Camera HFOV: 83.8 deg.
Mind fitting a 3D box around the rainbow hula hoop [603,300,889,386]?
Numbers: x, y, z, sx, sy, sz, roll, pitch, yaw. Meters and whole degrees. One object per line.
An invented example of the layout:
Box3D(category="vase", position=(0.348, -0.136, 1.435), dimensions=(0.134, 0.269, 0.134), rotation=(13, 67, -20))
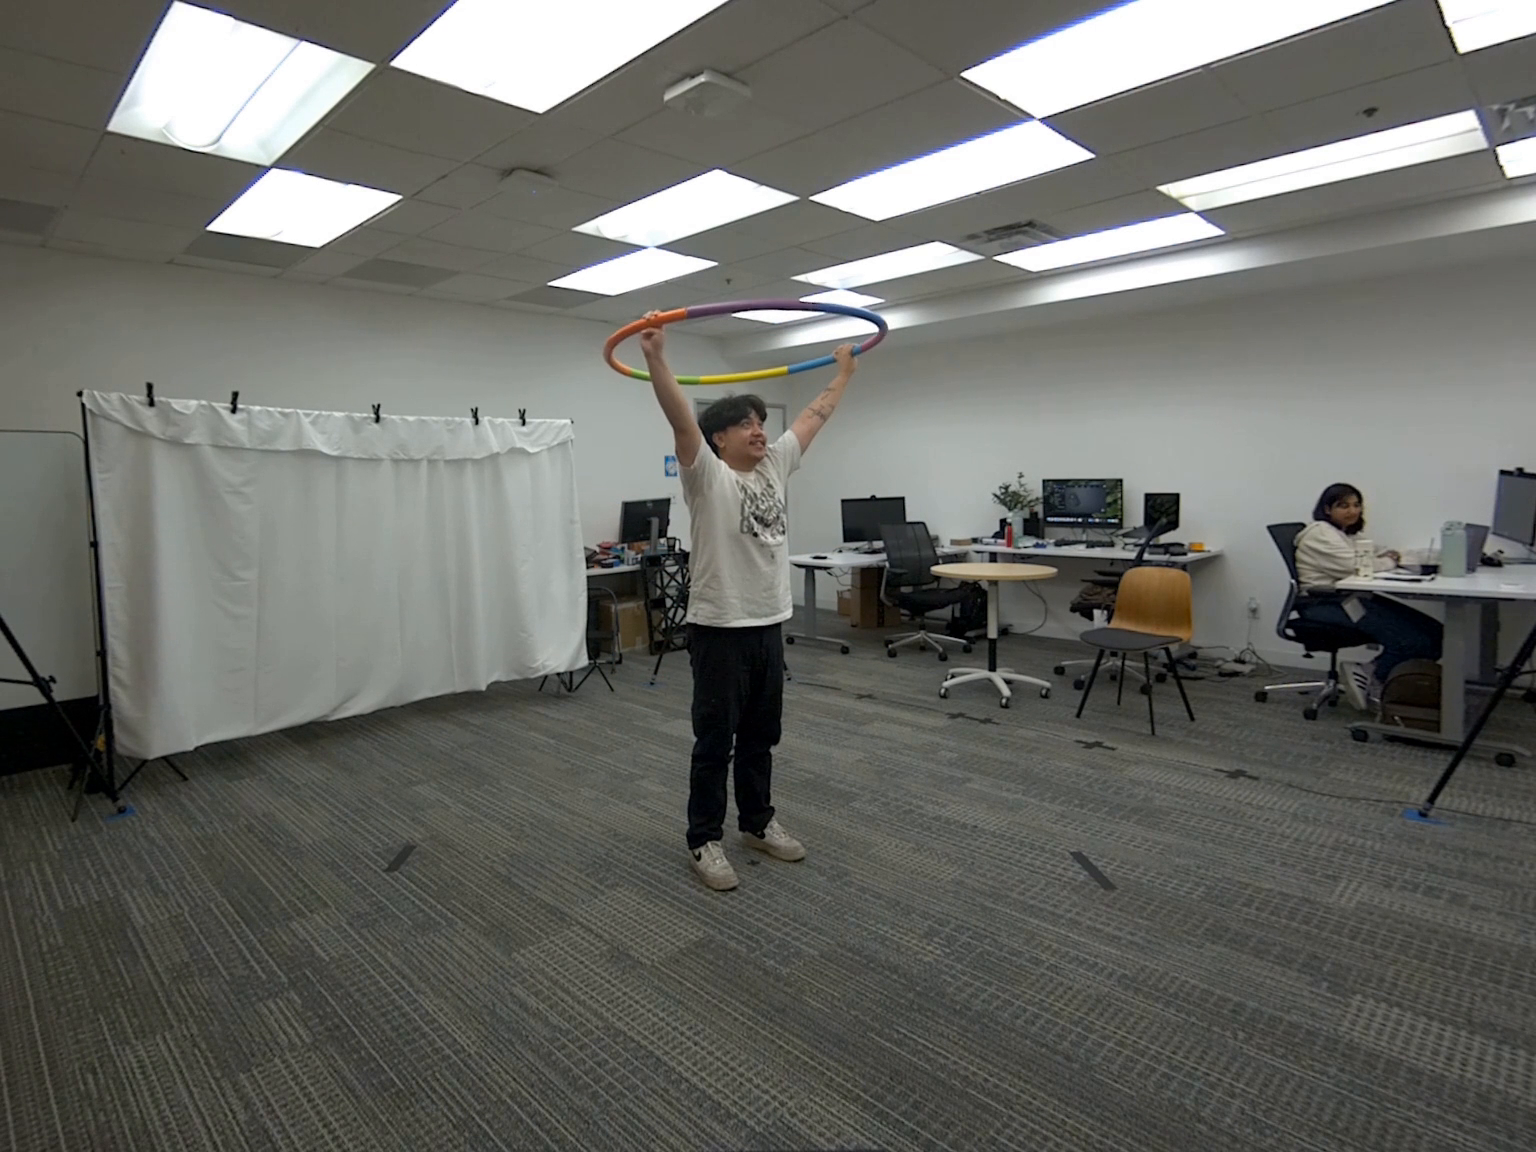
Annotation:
Box3D(category="rainbow hula hoop", position=(-0.068, -0.804, 2.966), dimensions=(0.984, 0.051, 0.985), rotation=(-5, 1, -2))
